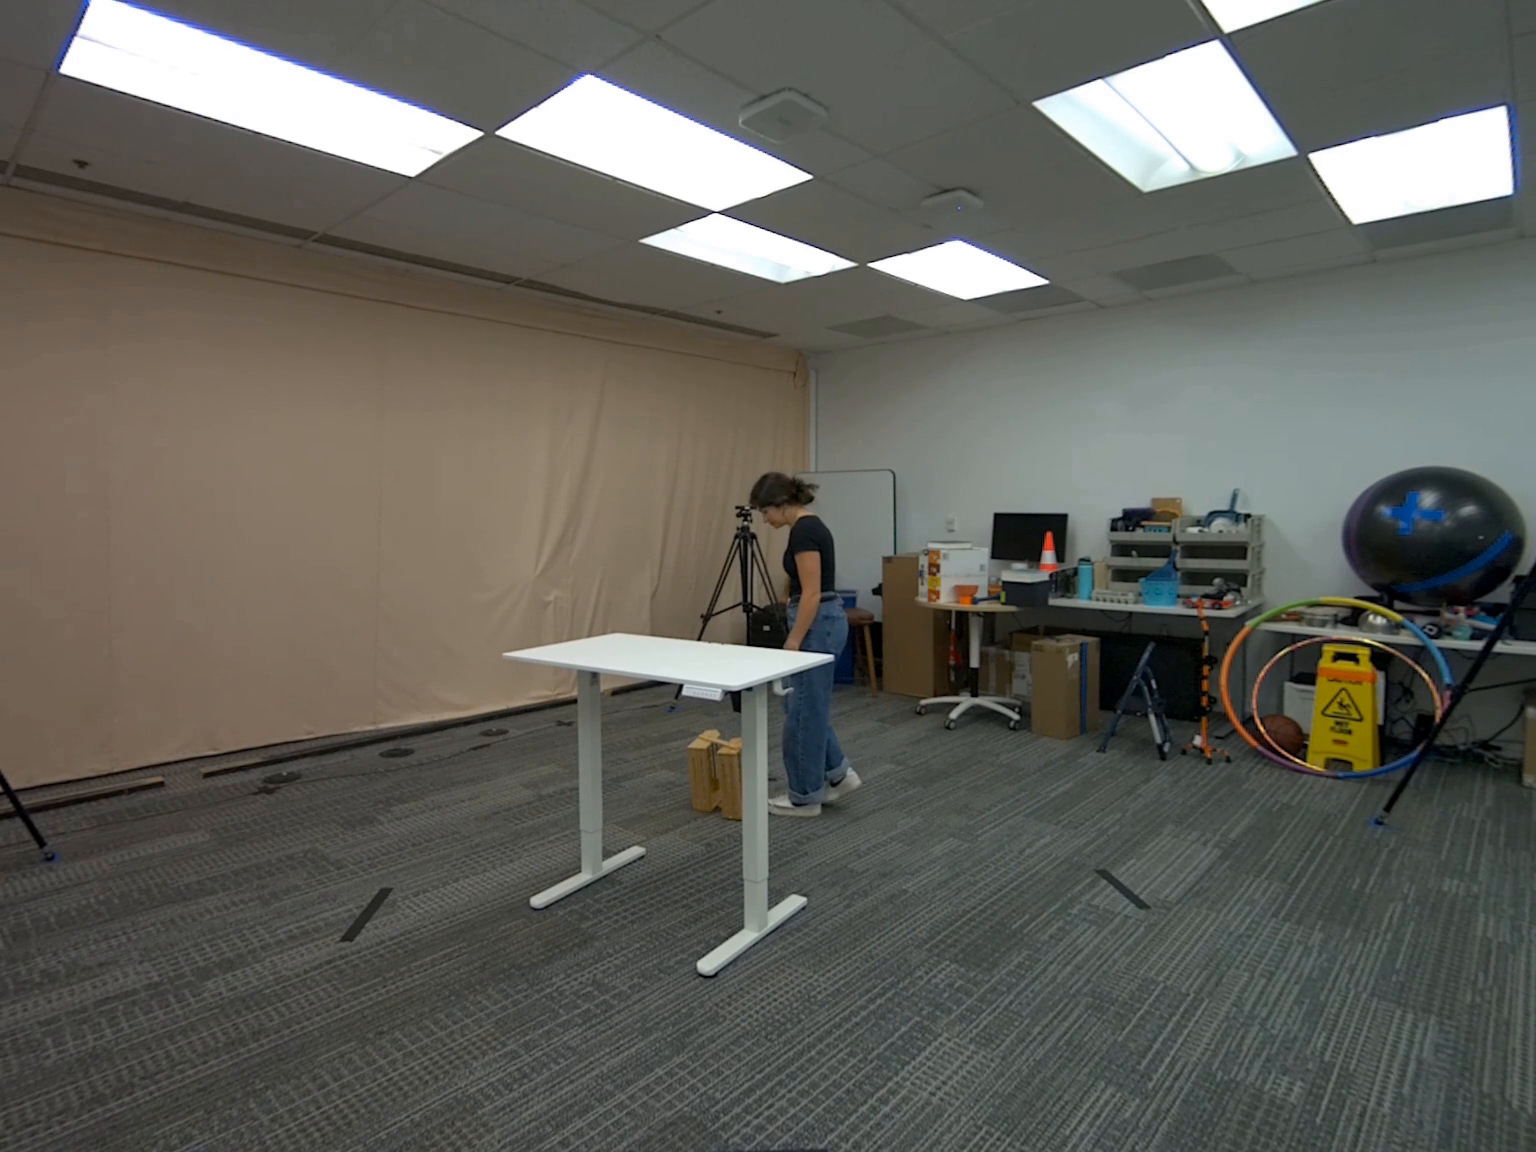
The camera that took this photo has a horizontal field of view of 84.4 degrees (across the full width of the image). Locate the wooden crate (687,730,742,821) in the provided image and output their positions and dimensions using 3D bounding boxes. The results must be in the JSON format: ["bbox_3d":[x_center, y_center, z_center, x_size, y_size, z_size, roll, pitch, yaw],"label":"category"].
[{"bbox_3d":[-0.200,0.910,3.895,0.279,0.323,0.297,-2,8,21],"label":"wooden crate"}]
